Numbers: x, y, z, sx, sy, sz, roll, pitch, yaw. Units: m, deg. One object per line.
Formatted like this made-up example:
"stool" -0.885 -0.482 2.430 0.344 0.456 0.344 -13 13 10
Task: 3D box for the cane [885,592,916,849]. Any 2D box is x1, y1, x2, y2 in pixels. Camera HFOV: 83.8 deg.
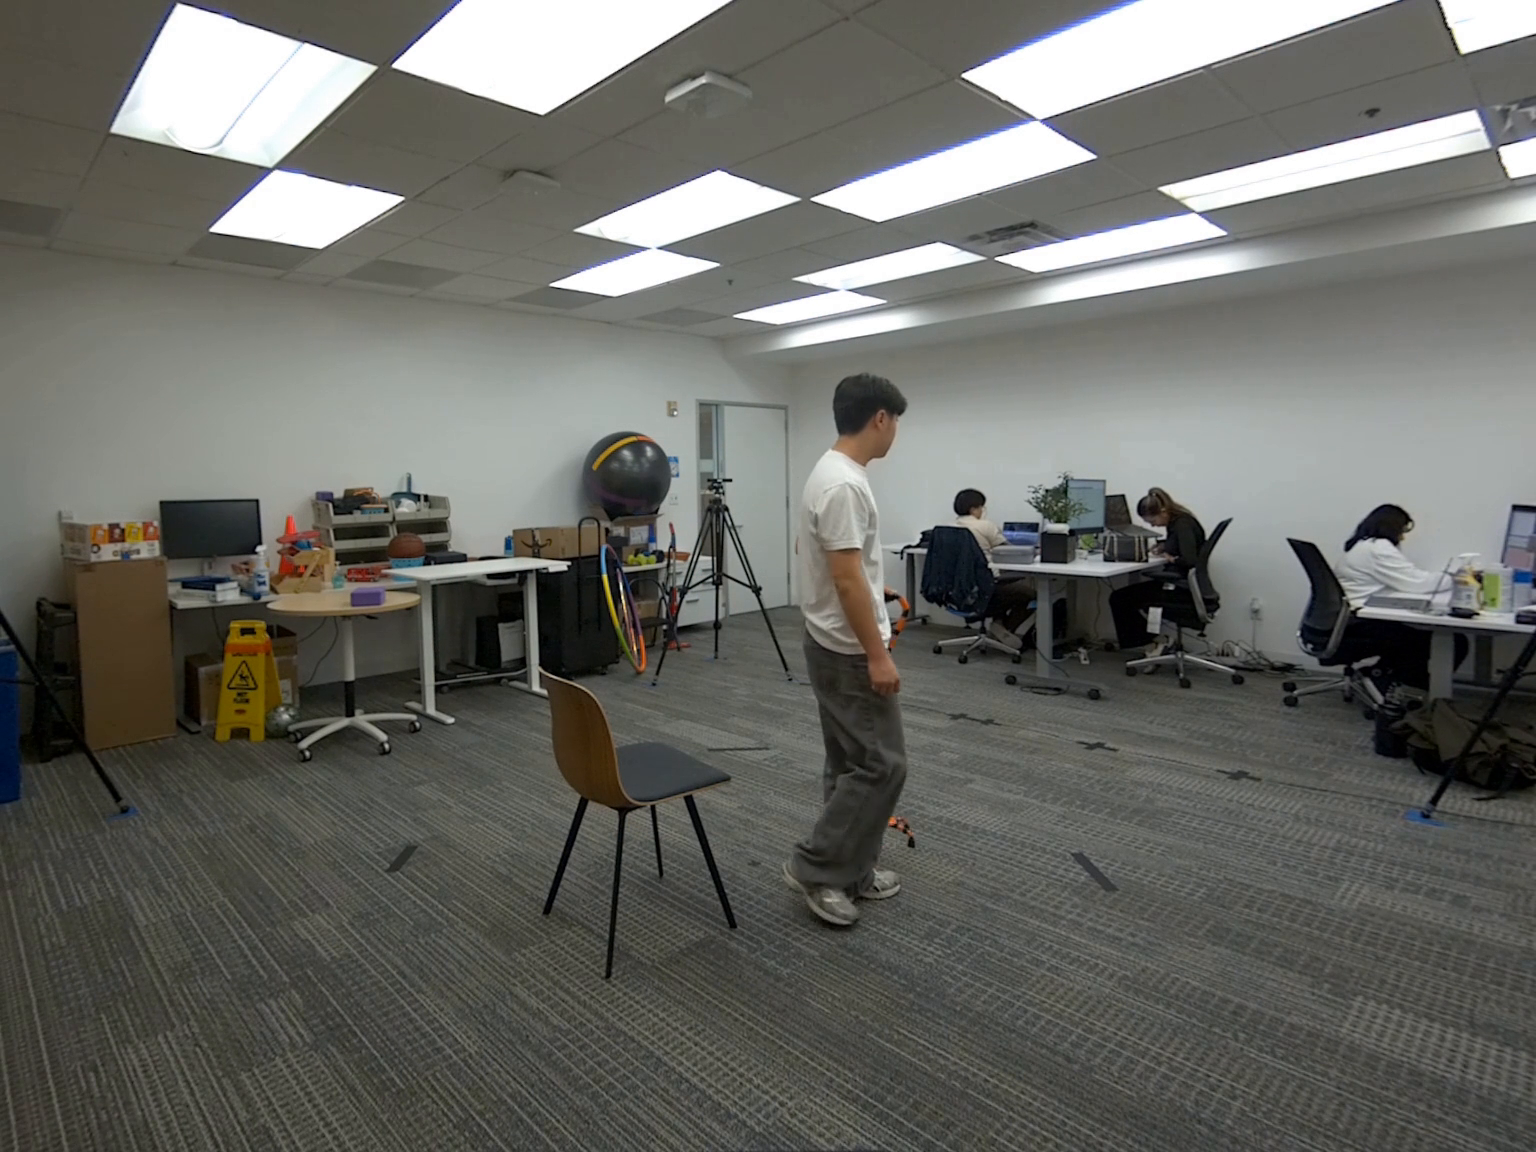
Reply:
"cane" 0.433 0.524 3.123 0.207 0.906 0.151 0 2 3
